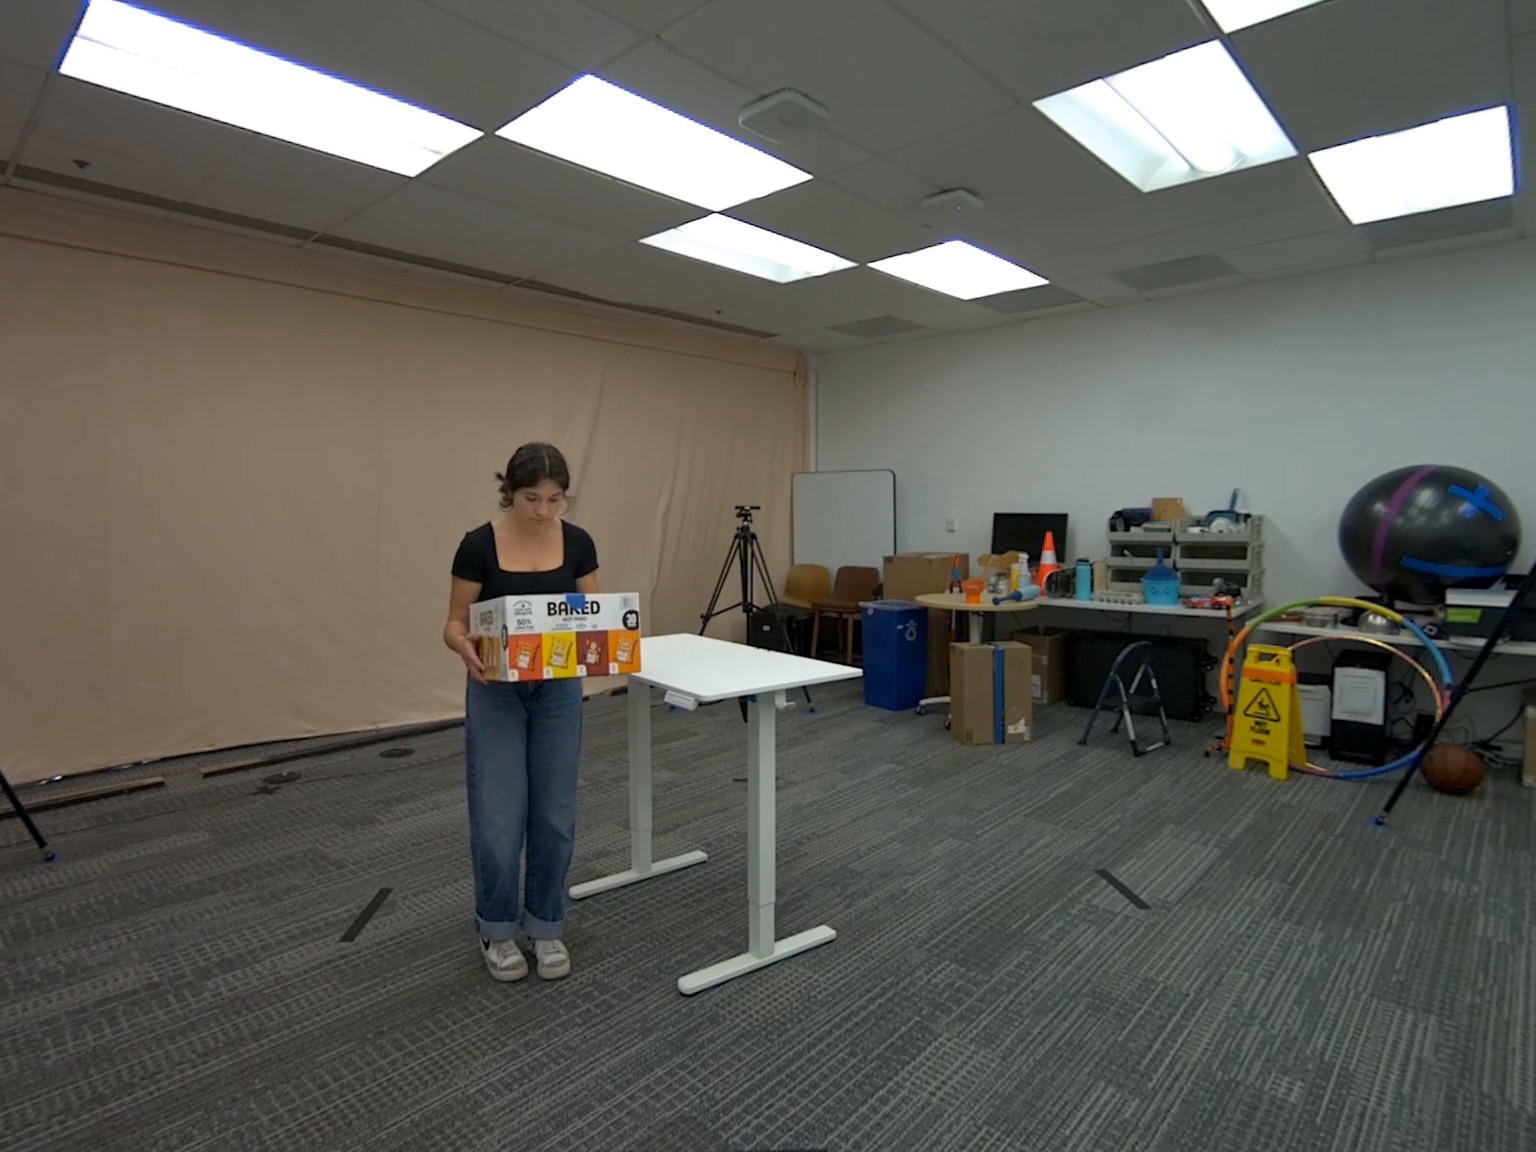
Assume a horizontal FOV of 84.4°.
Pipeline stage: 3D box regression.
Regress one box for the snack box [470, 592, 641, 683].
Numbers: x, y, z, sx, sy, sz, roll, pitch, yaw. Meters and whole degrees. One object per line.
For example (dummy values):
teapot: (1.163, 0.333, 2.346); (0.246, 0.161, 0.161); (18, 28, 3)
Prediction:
snack box: (-0.572, 0.163, 2.213); (0.331, 0.206, 0.415); (0, -5, -30)
